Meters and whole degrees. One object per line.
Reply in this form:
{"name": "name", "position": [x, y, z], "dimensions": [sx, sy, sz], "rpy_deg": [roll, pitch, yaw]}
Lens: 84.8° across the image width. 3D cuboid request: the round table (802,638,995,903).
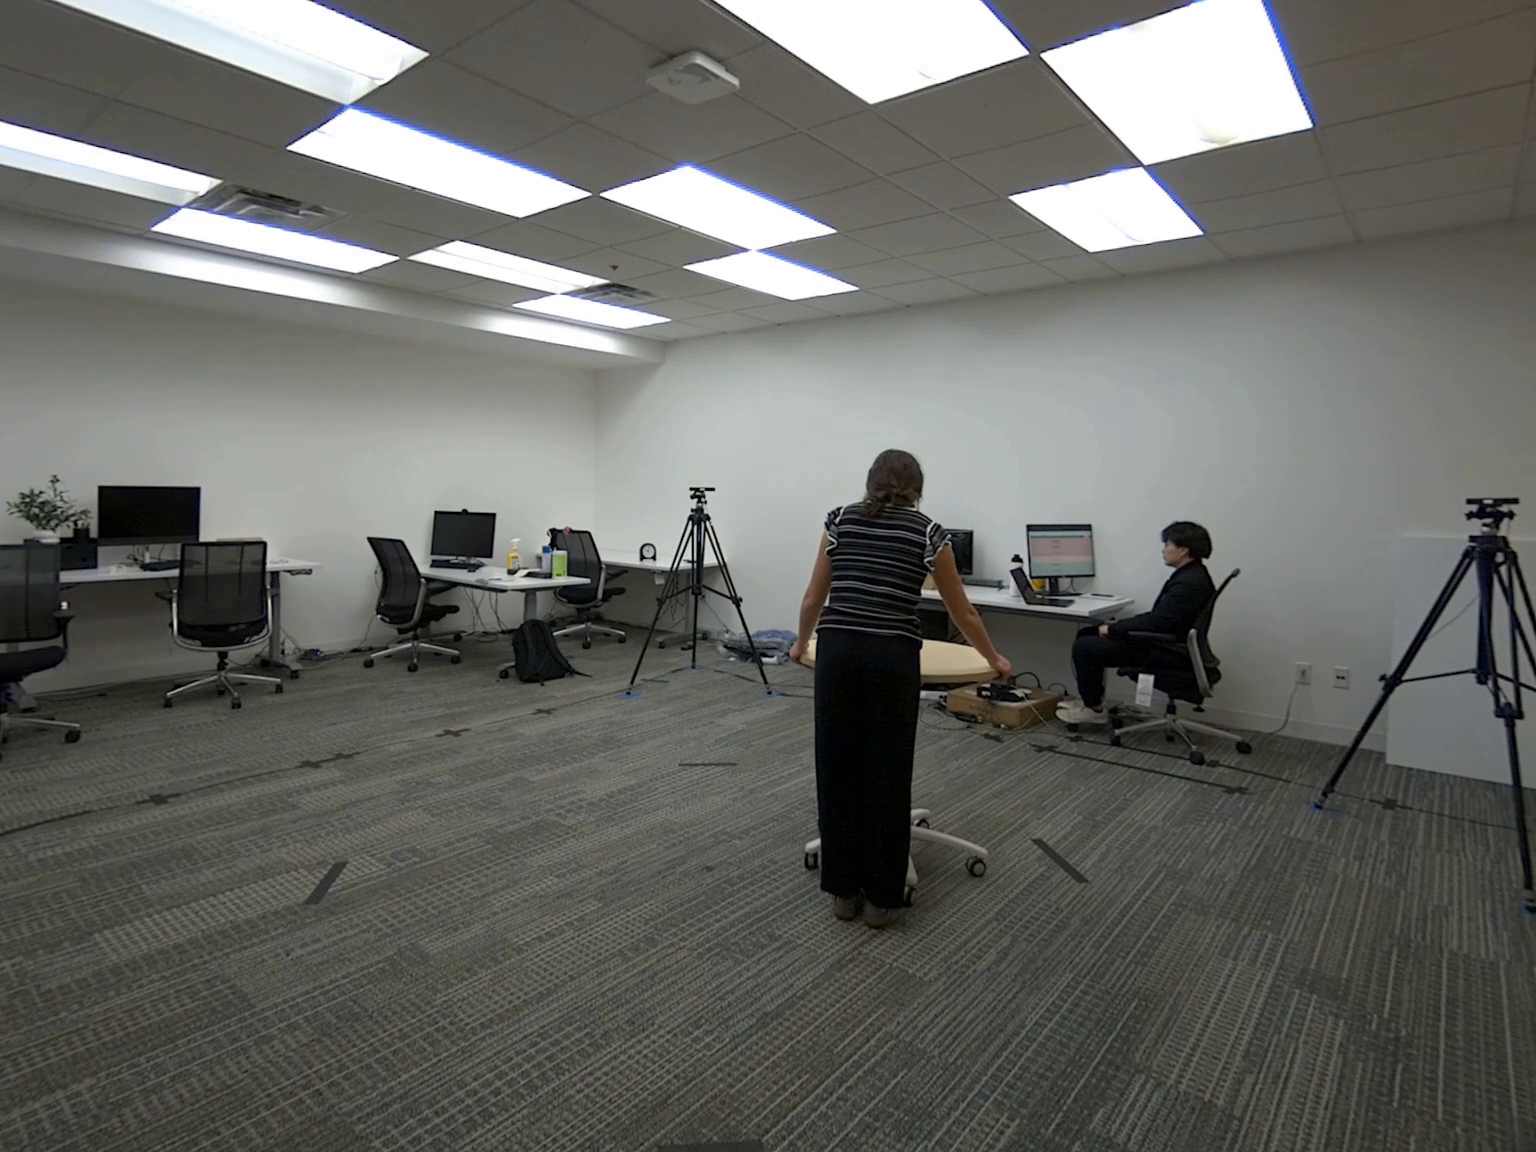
{"name": "round table", "position": [0.464, 0.678, 3.218], "dimensions": [0.763, 0.791, 0.768], "rpy_deg": [2, 4, -2]}
